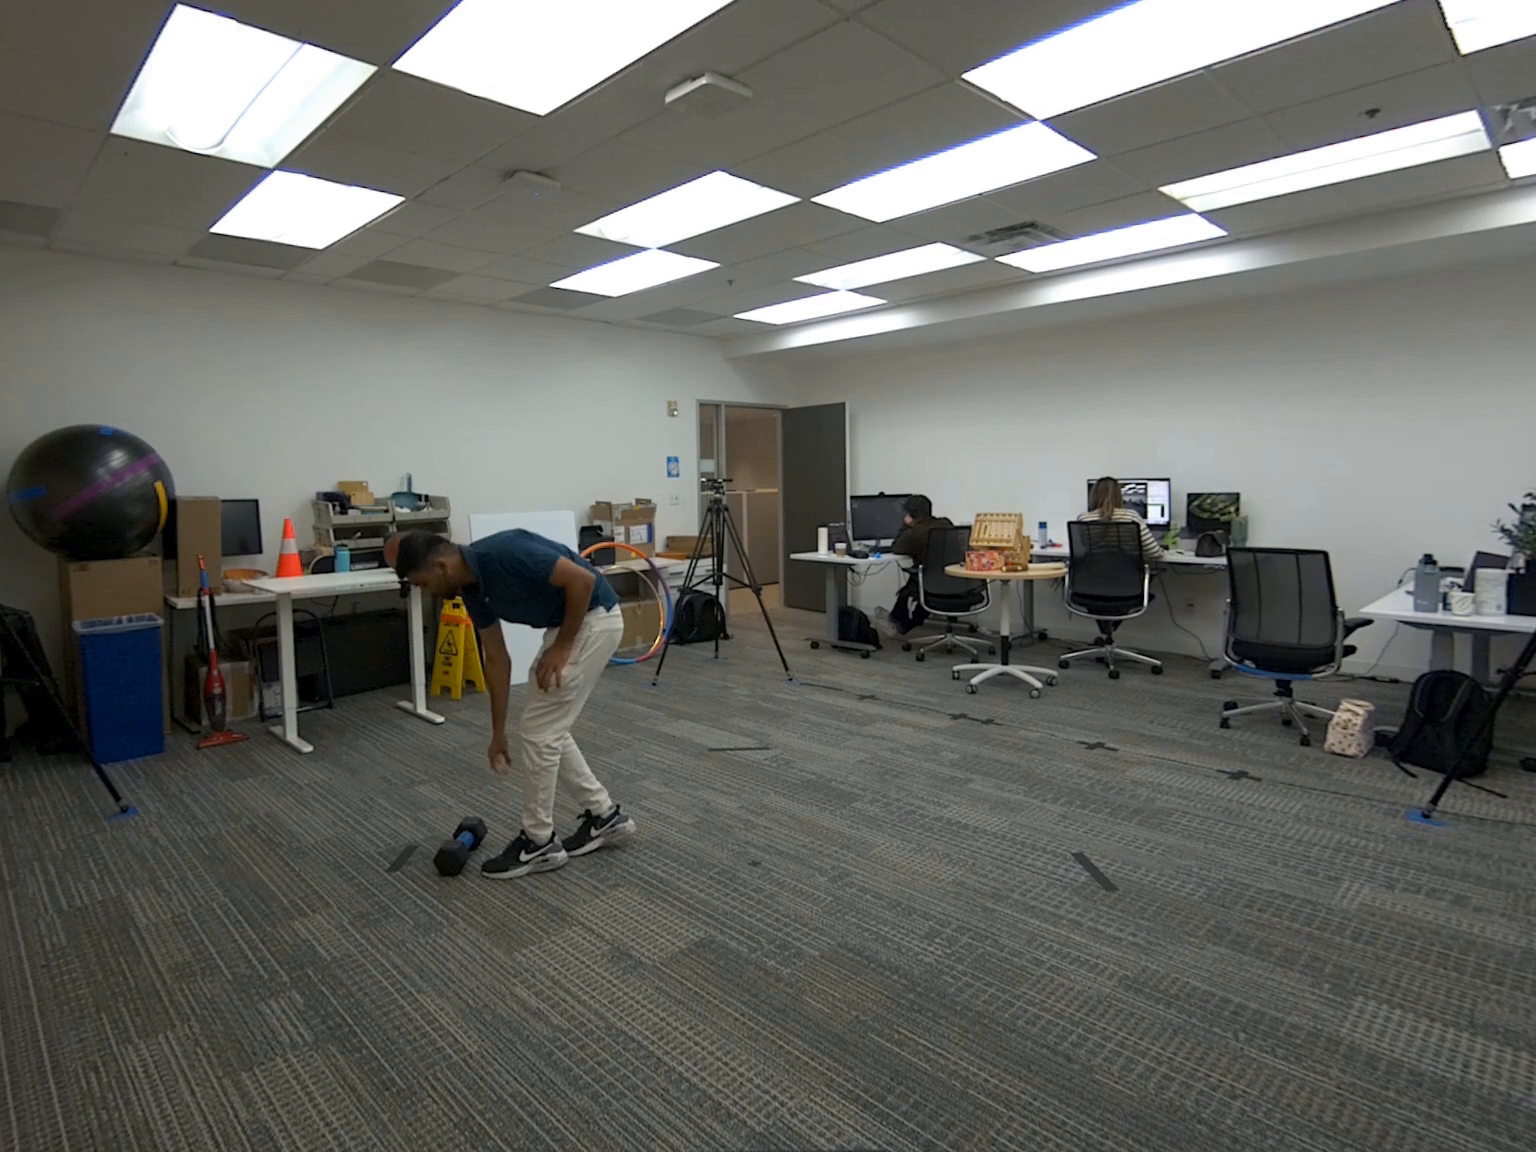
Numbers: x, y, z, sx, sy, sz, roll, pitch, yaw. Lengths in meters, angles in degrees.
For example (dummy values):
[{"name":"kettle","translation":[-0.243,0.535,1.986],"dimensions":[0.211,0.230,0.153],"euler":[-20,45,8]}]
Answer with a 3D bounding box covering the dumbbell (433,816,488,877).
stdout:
[{"name":"dumbbell","translation":[-1.139,1.004,3.189],"dimensions":[0.123,0.108,0.295],"euler":[1,6,-2]}]
